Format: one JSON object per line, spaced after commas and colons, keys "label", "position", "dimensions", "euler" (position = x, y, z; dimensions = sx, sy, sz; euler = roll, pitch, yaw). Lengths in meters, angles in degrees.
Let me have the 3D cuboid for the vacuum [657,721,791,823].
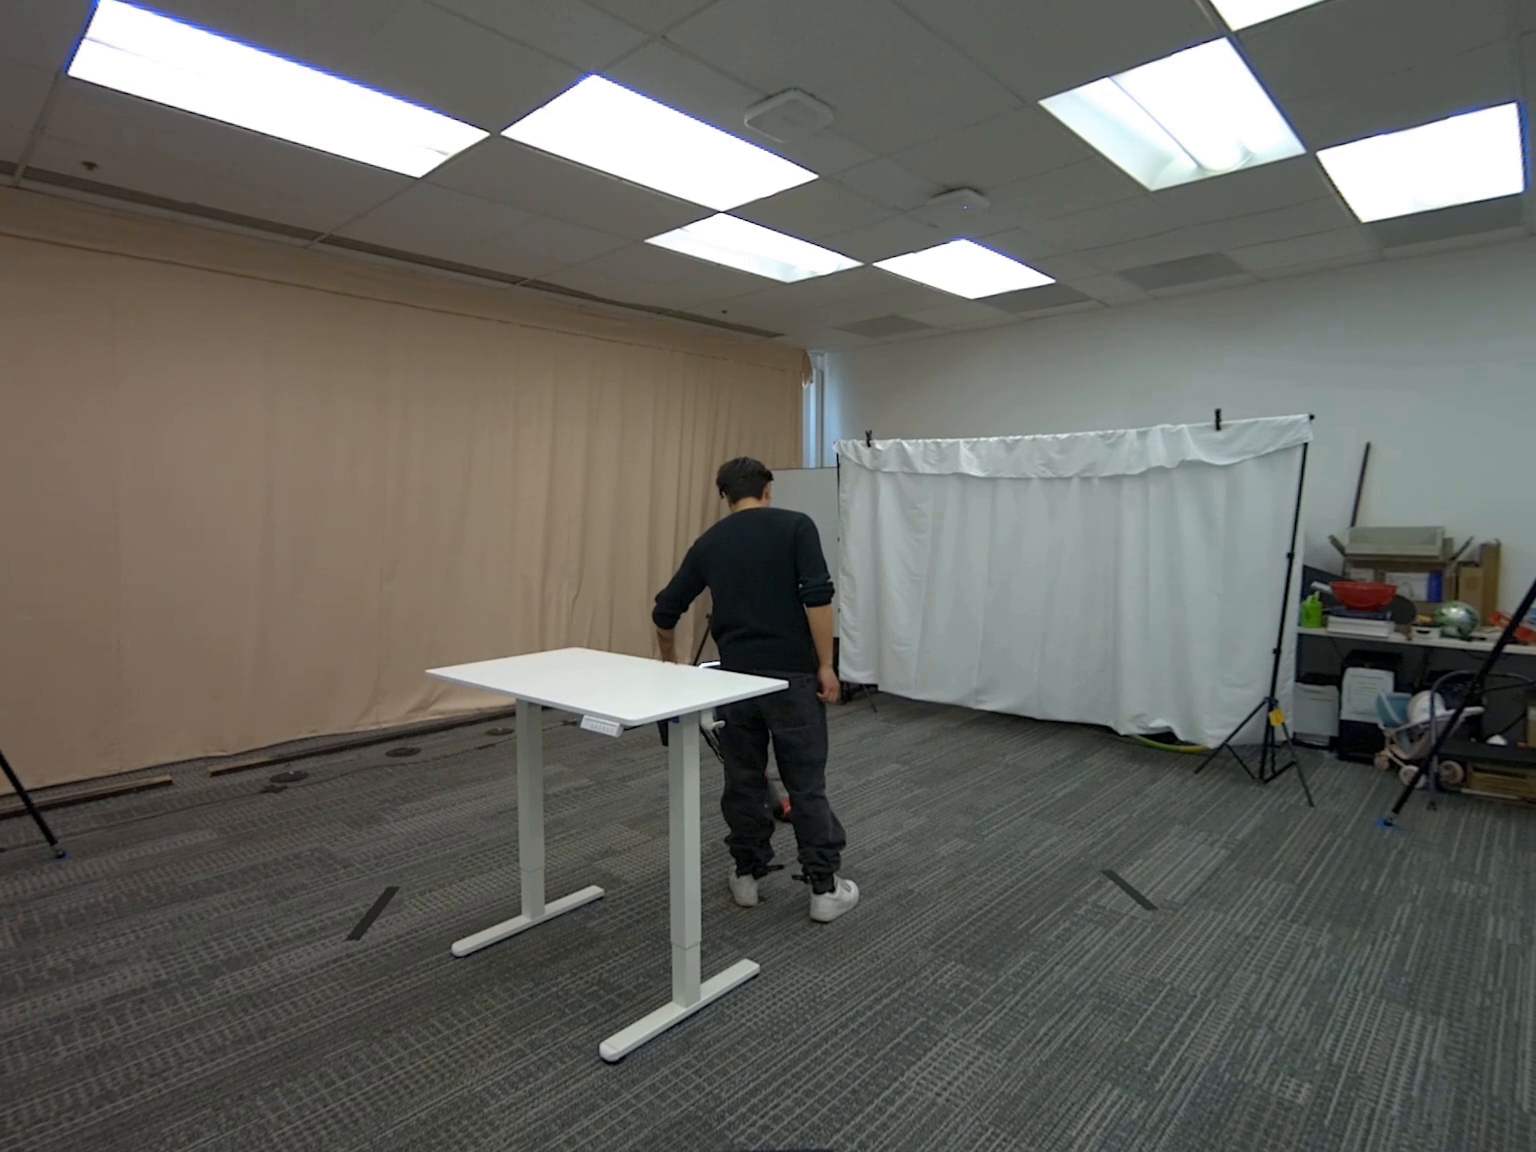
{"label": "vacuum", "position": [-0.147, 0.721, 3.495], "dimensions": [0.260, 0.144, 1.016], "euler": [-4, -44, 37]}
